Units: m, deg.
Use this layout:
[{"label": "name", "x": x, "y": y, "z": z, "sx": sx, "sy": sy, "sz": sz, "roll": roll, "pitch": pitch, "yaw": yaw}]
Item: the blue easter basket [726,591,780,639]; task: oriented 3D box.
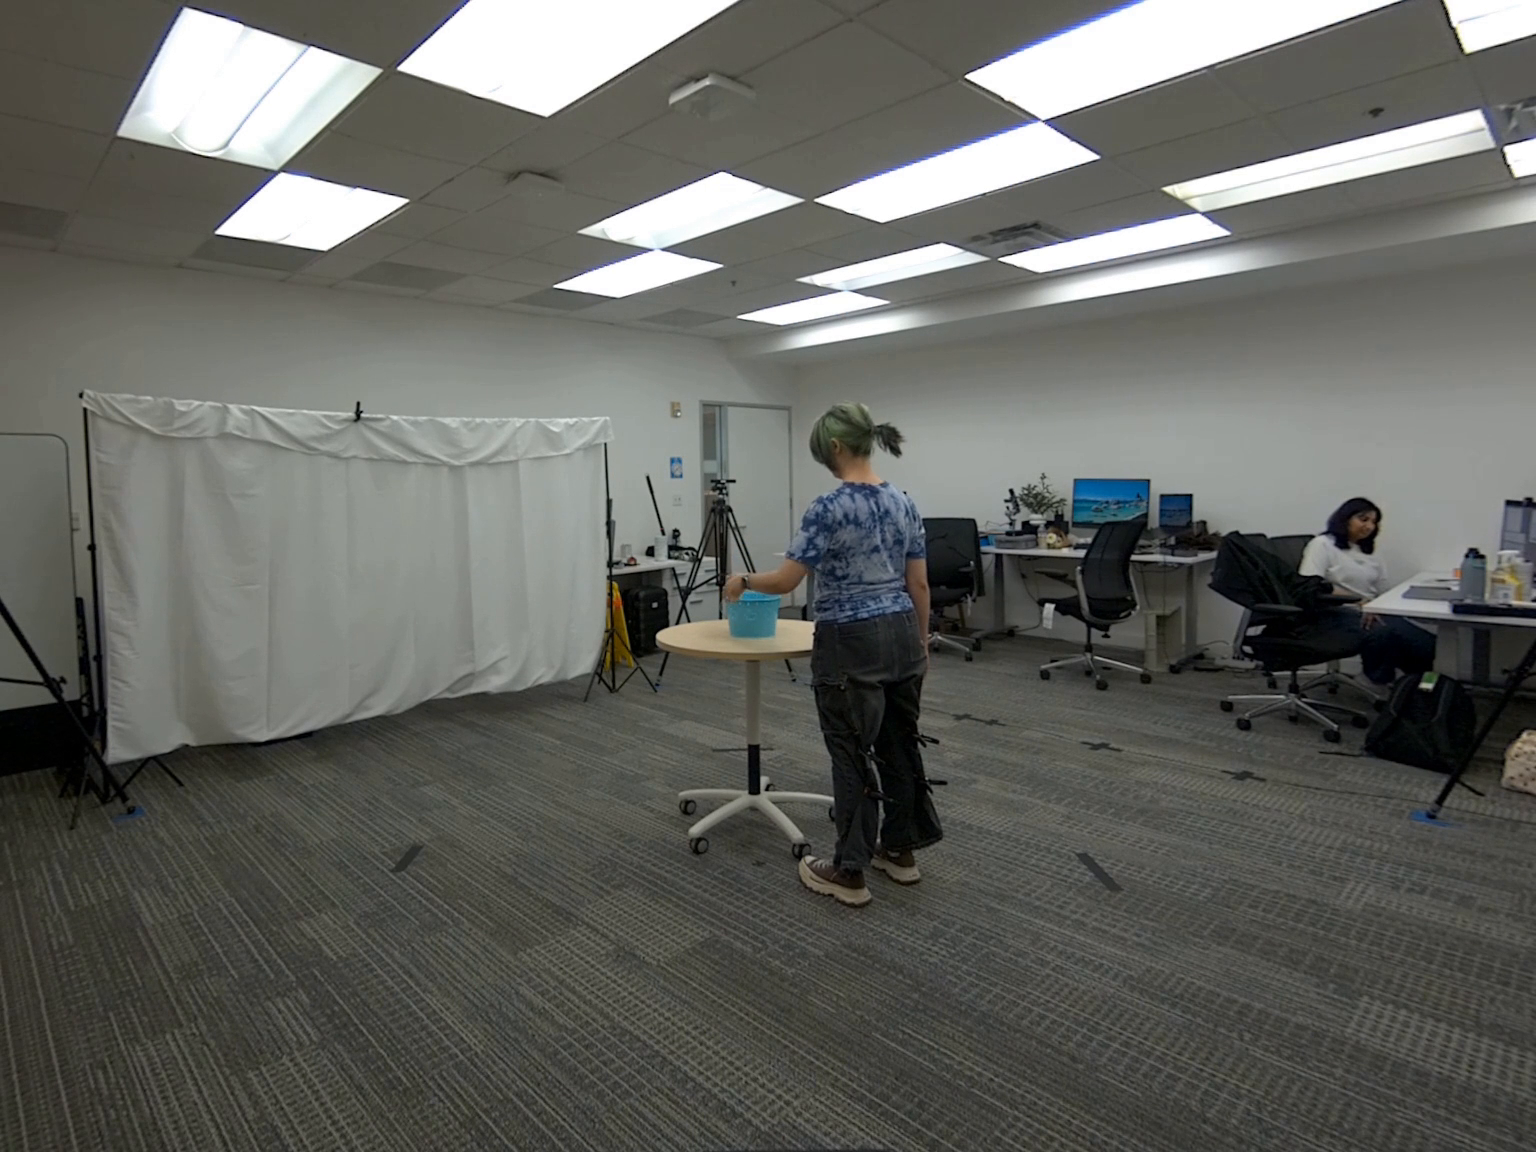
[{"label": "blue easter basket", "x": -0.057, "y": 0.158, "z": 3.392, "sx": 0.243, "sy": 0.155, "sz": 0.245, "roll": 0, "pitch": 5, "yaw": -2}]
